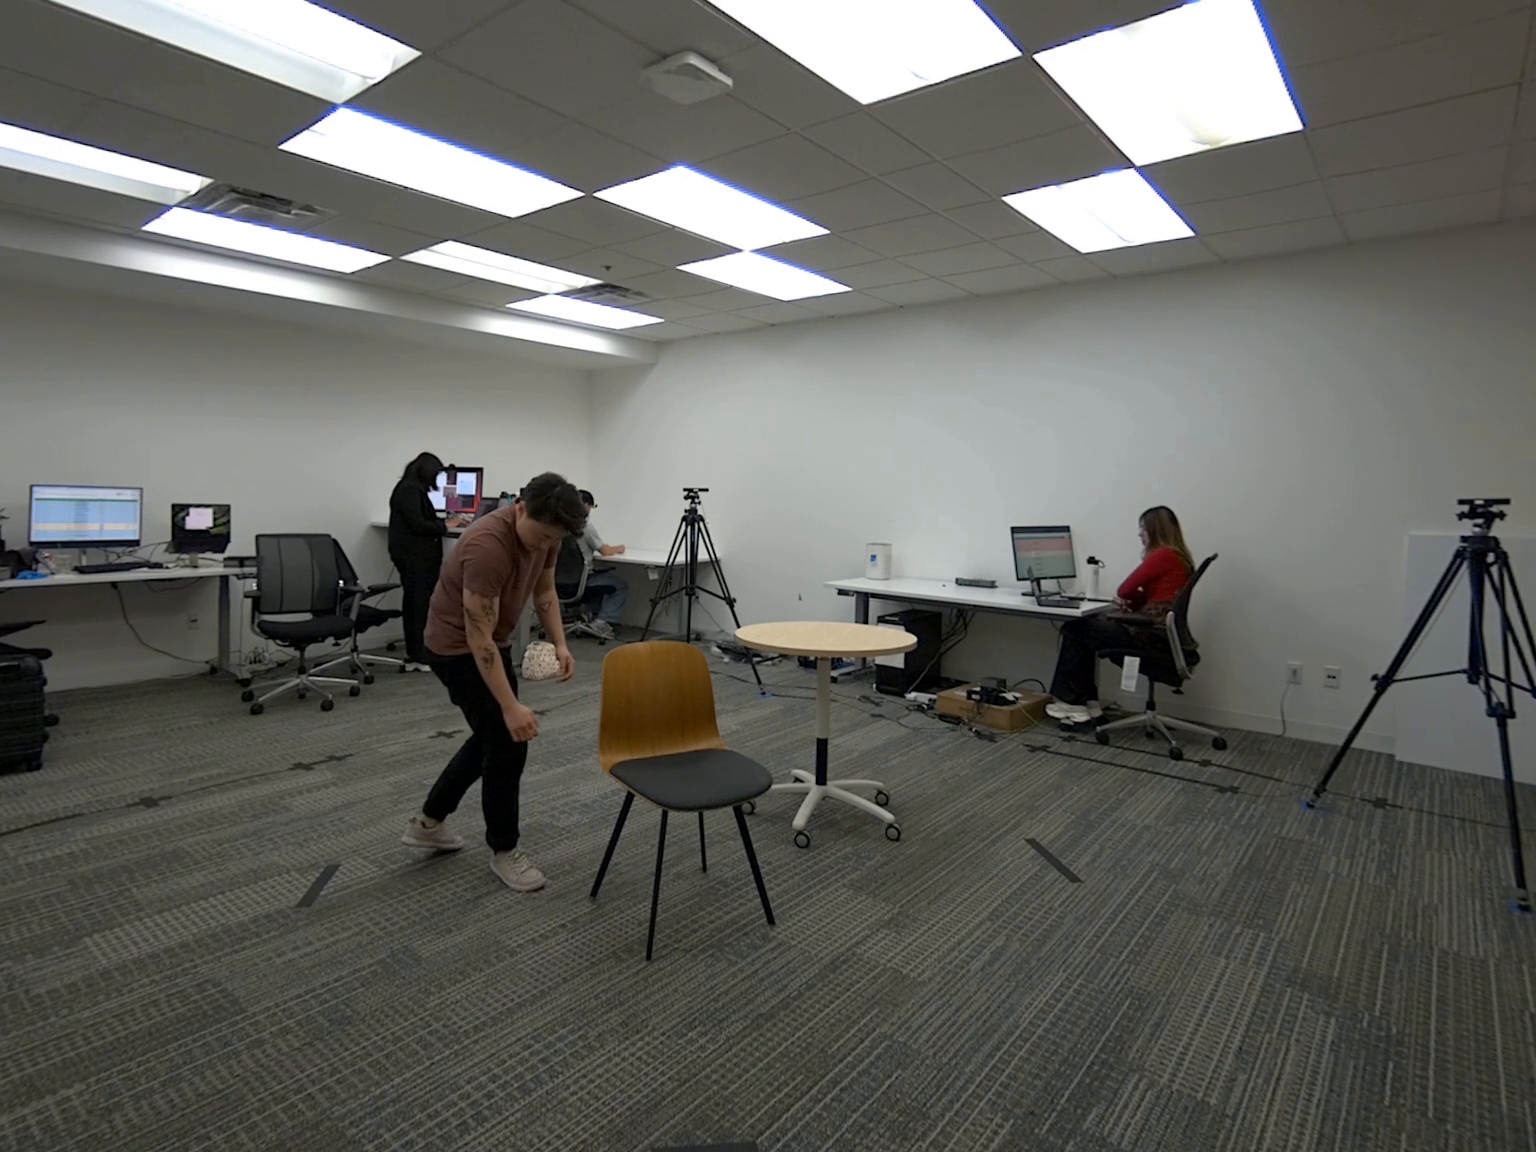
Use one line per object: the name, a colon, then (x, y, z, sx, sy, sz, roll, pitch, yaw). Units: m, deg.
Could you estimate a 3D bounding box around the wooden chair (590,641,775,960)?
wooden chair: (-0.281, 0.676, 2.764, 0.465, 0.878, 0.538, 0, -1, -32)
